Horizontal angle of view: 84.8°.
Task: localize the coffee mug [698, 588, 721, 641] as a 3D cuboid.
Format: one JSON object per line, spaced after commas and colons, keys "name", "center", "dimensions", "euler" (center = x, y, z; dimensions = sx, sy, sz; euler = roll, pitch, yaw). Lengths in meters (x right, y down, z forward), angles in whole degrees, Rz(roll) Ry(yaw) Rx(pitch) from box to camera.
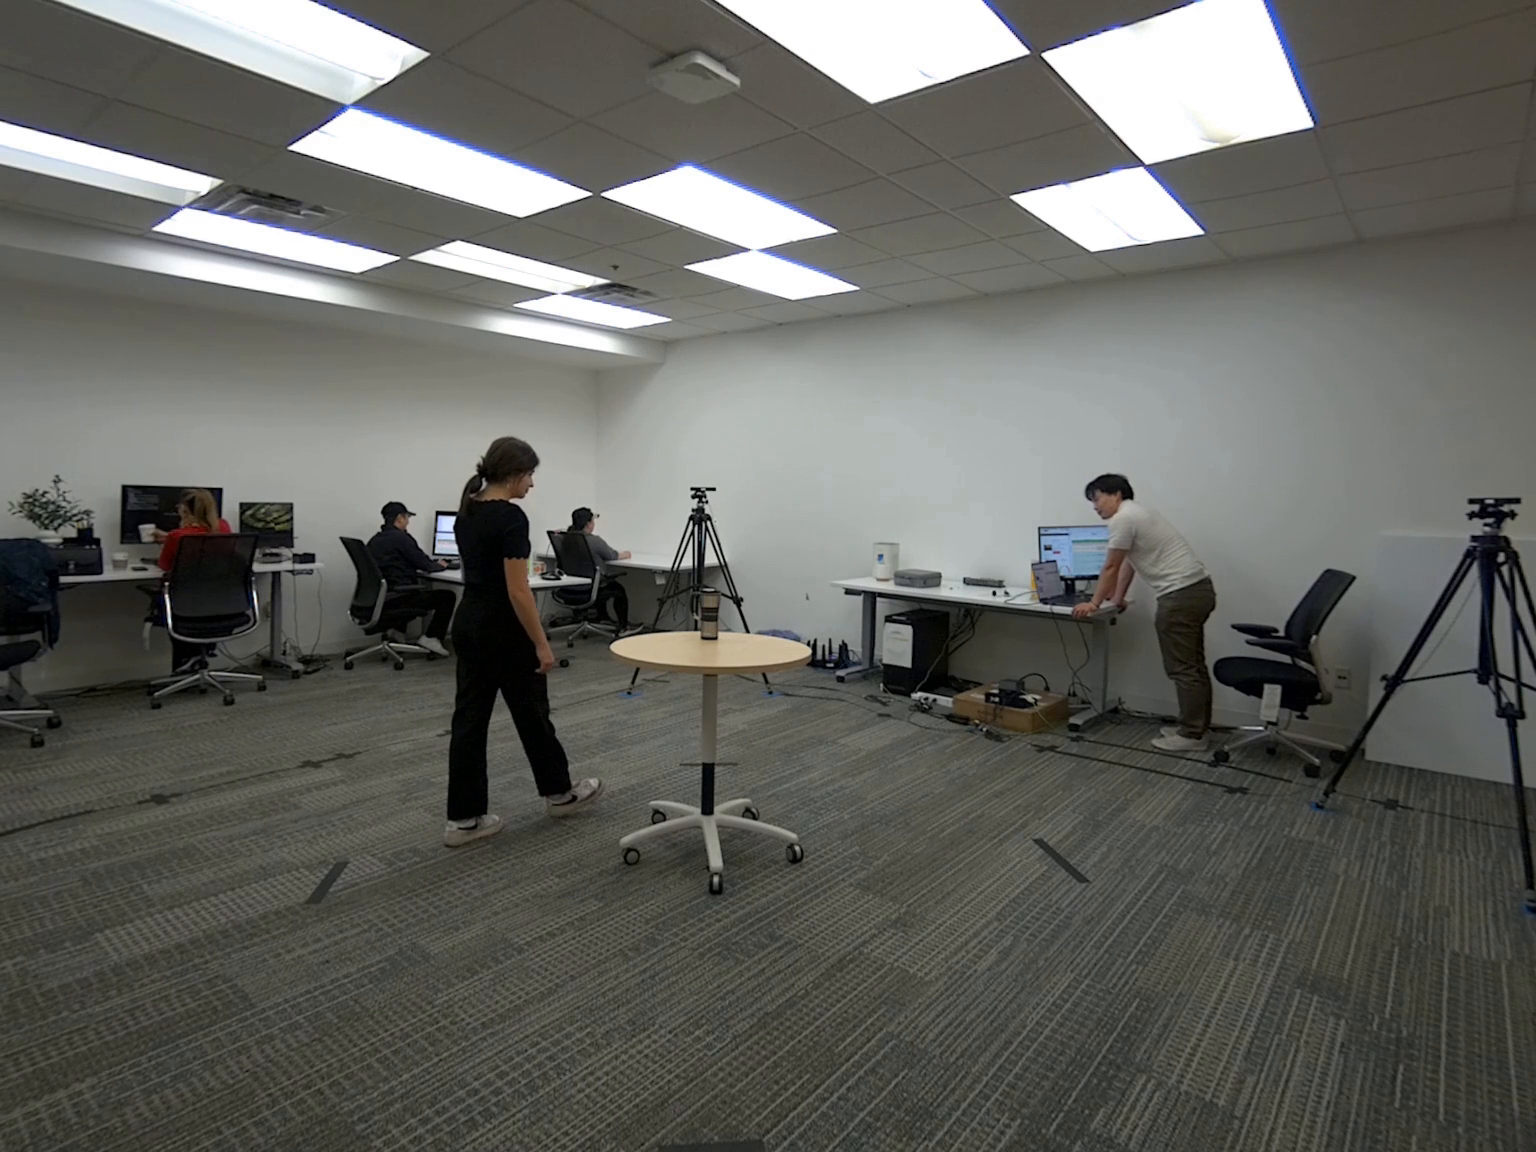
{"name": "coffee mug", "center": [-0.264, 0.152, 3.441], "dimensions": [0.126, 0.201, 0.085], "euler": [8, 14, 43]}
